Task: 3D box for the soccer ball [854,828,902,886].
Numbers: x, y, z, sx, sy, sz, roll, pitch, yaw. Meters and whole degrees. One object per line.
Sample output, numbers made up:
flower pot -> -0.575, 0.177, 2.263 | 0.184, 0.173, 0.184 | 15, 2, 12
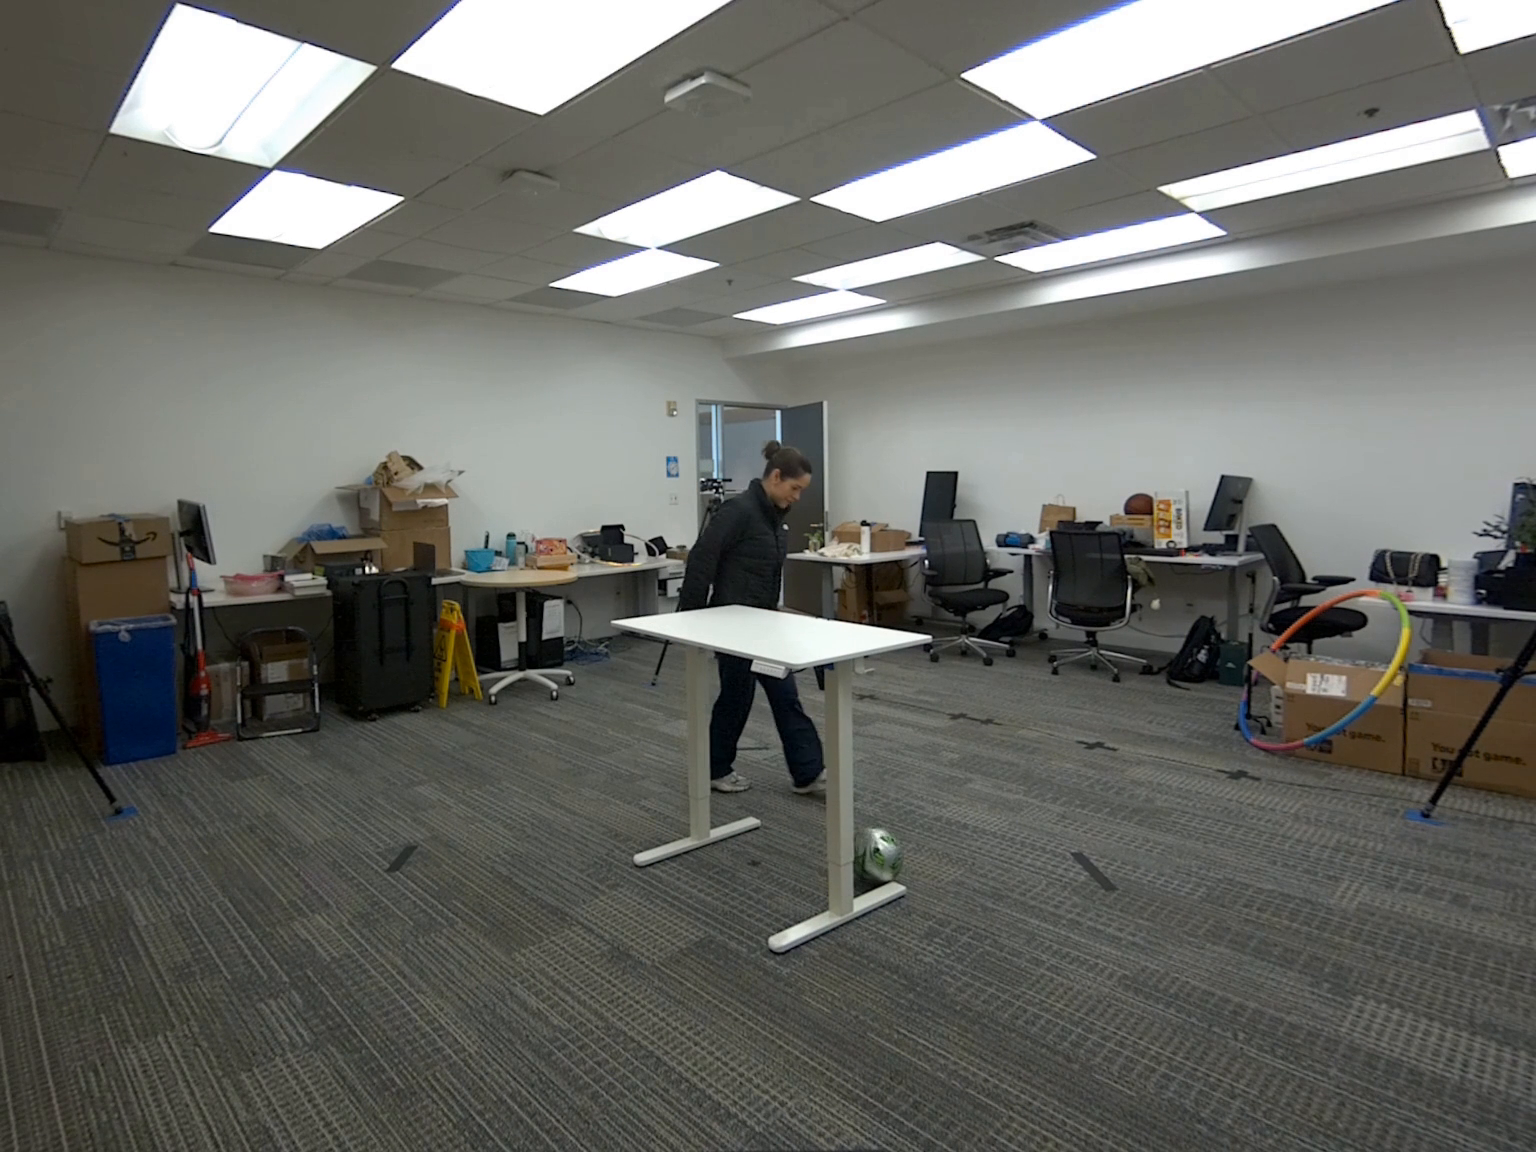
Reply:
soccer ball -> 0.372, 0.966, 2.941 | 0.187, 0.187, 0.188 | -1, 5, -2
